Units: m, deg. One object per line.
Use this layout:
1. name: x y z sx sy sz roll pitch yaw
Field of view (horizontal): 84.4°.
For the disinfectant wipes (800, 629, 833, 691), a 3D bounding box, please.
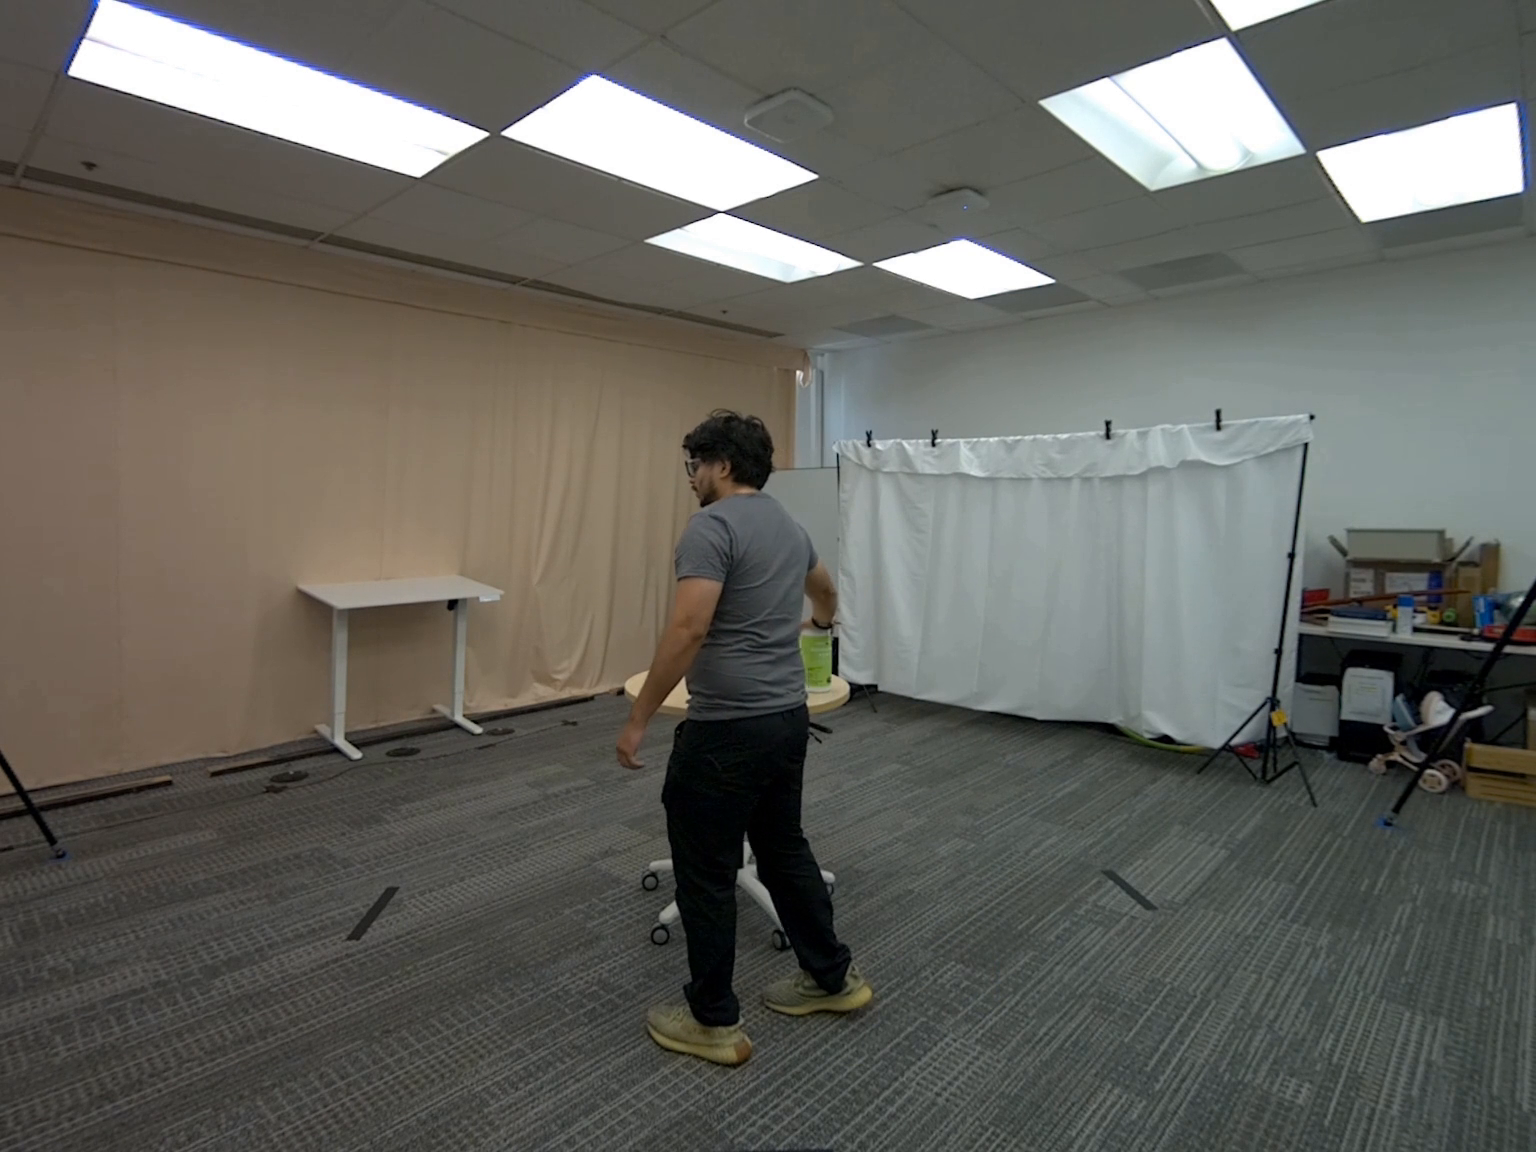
1. disinfectant wipes: 0.160 0.274 2.787 0.117 0.217 0.118 1 6 -2
